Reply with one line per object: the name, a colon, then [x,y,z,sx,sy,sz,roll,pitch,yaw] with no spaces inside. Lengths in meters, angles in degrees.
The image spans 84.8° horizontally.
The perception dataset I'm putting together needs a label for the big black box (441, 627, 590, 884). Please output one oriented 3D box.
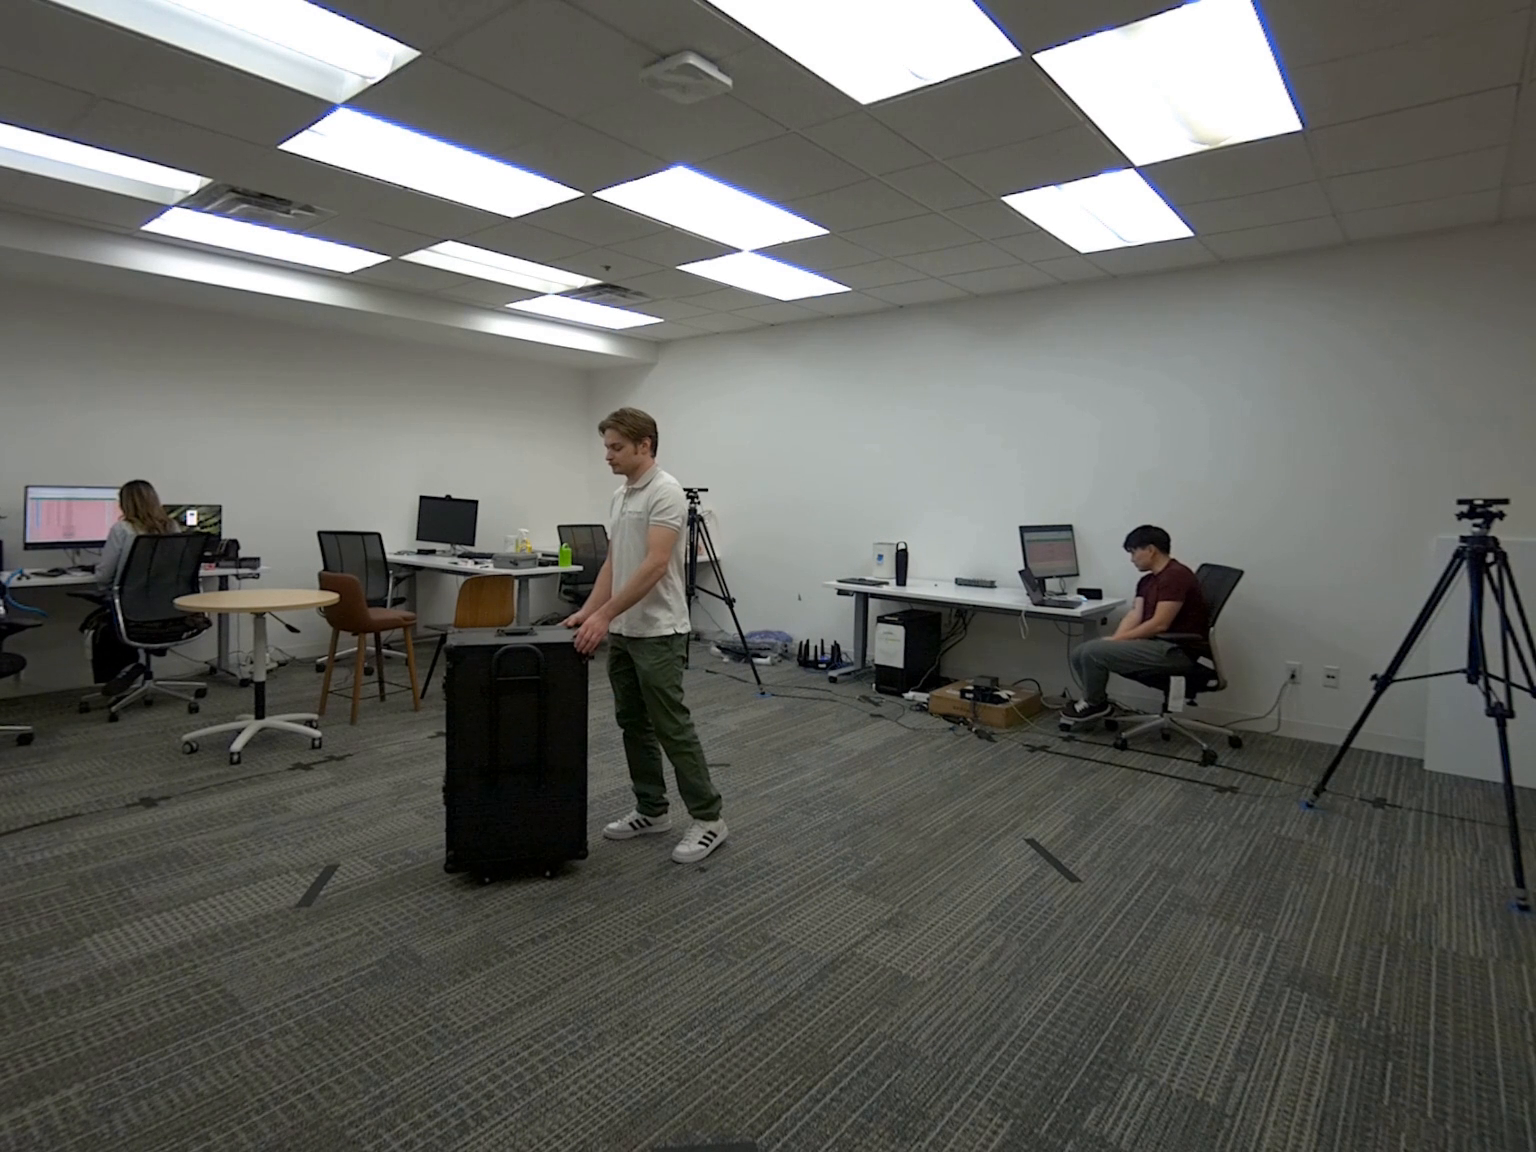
big black box: [-0.927,0.639,3.092,0.514,0.866,0.393,0,3,-18]
